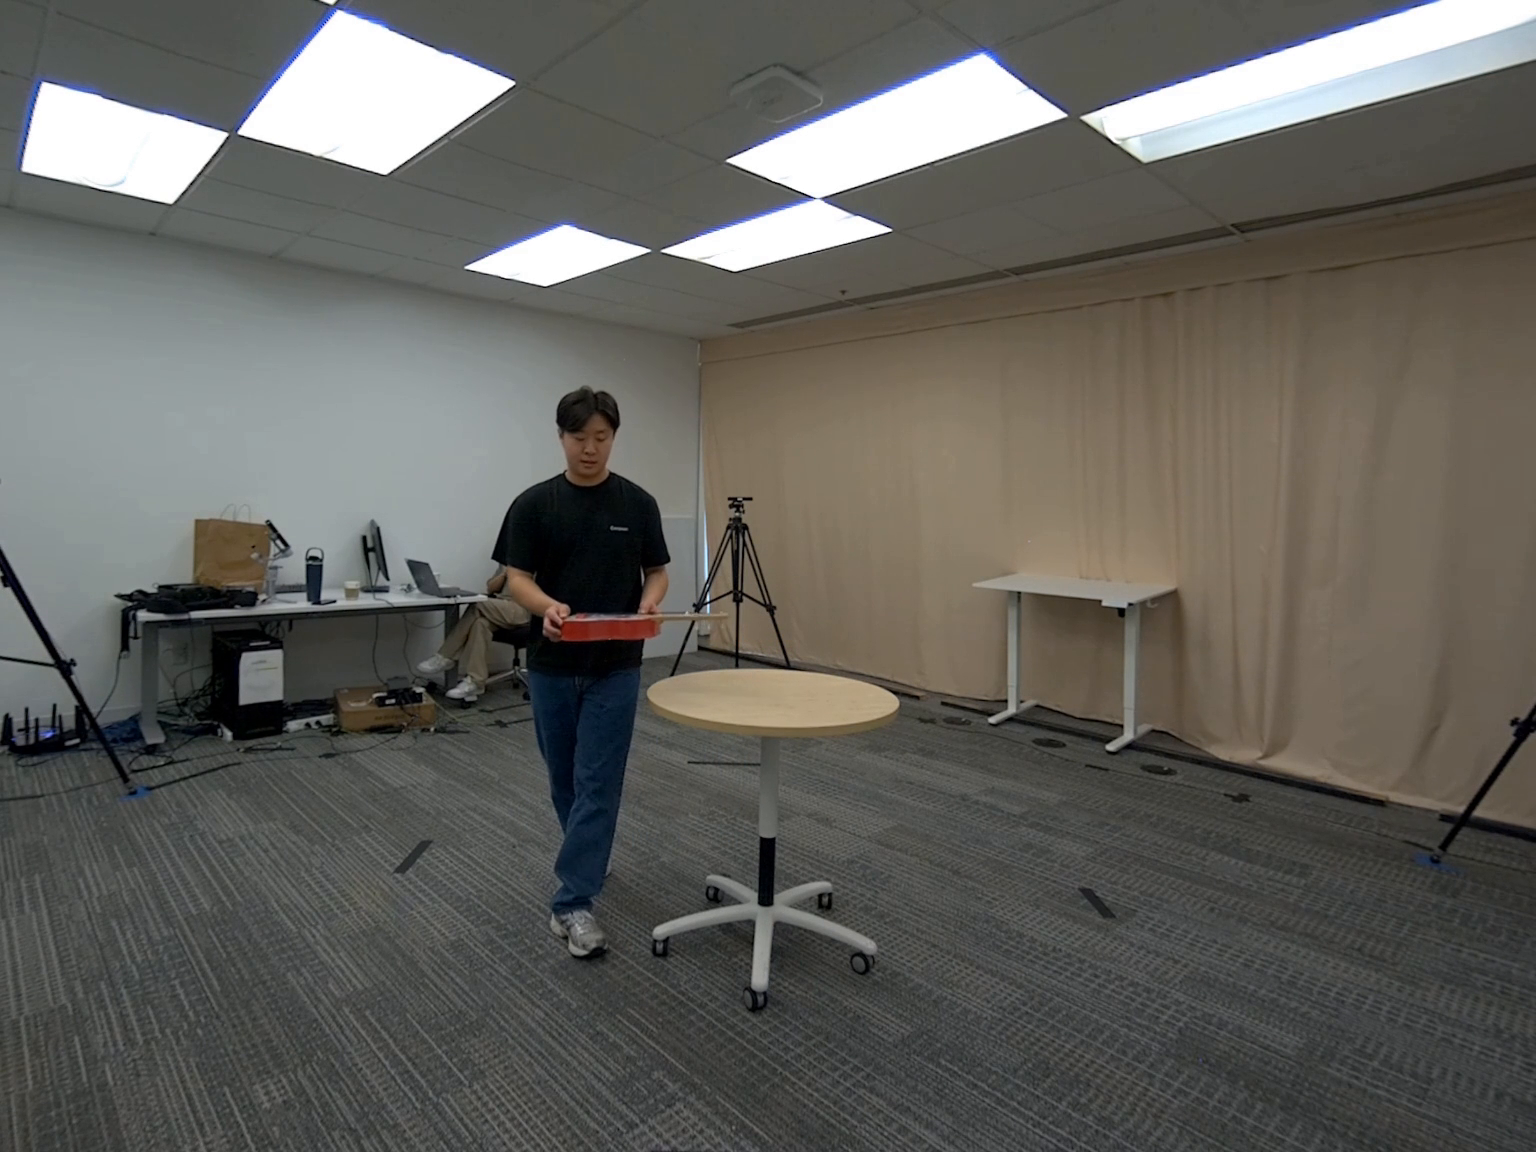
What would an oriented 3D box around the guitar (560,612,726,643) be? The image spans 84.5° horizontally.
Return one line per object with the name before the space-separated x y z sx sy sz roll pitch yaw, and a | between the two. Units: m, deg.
guitar | -0.361 0.146 2.471 0.503 0.070 0.191 2 3 14
